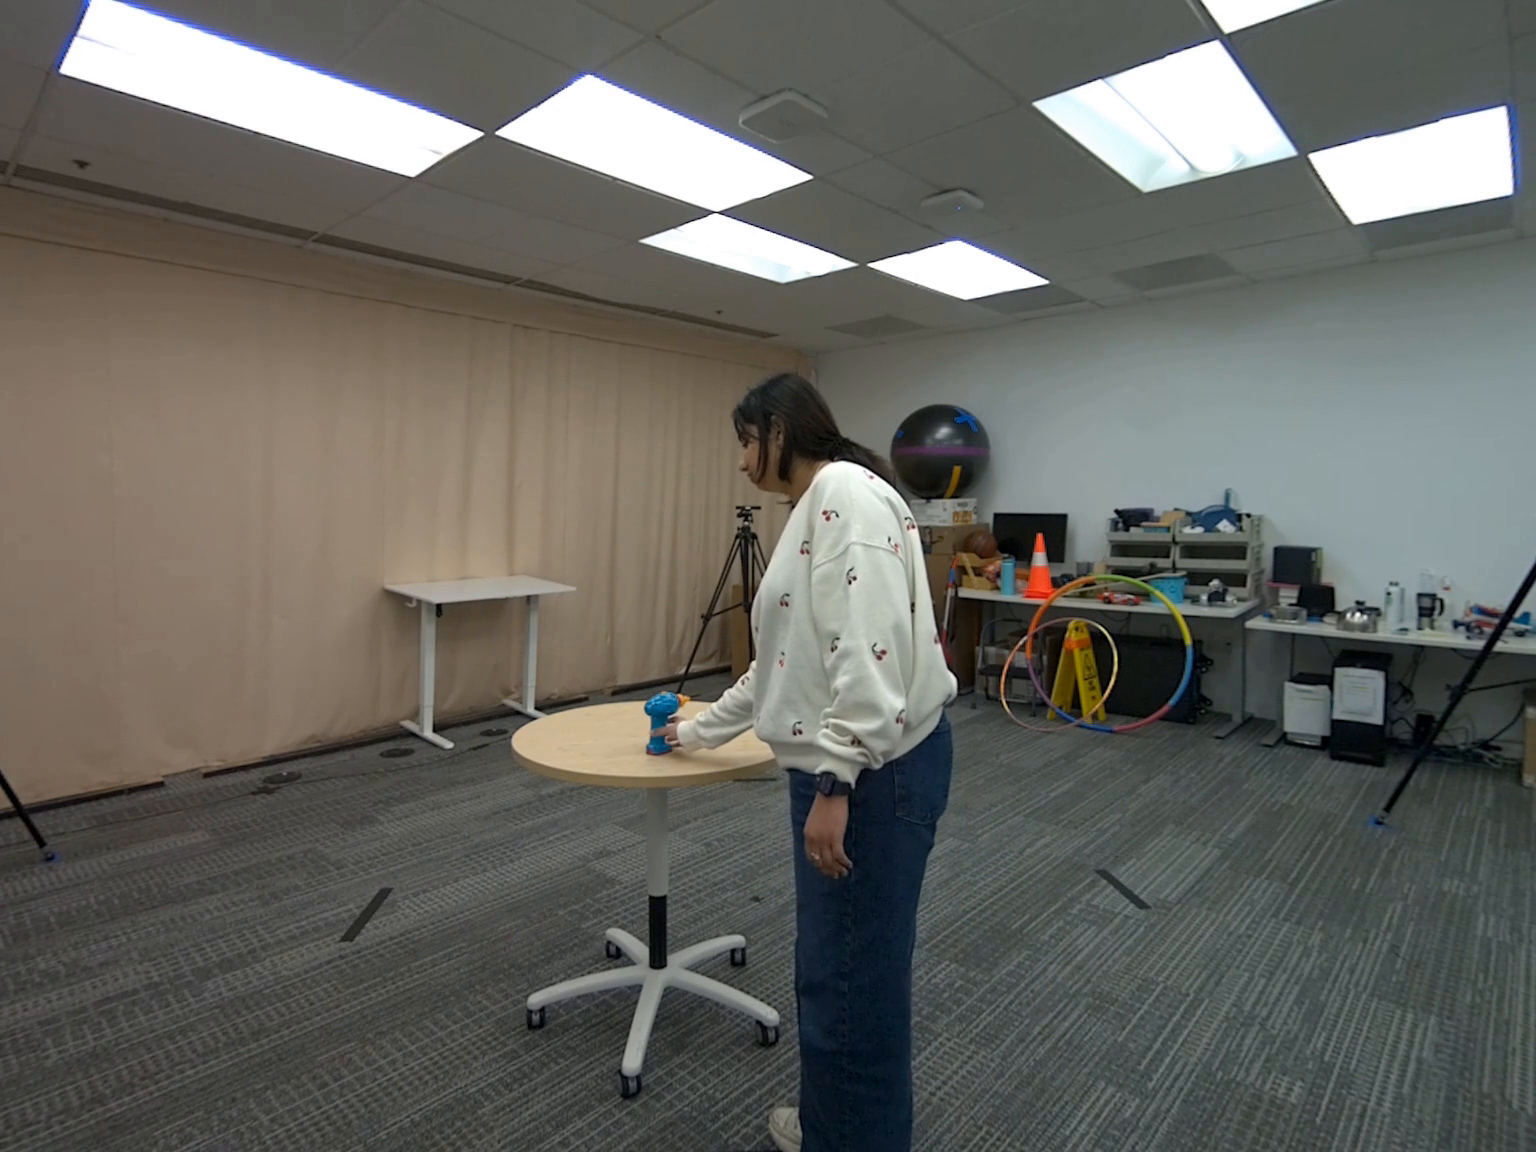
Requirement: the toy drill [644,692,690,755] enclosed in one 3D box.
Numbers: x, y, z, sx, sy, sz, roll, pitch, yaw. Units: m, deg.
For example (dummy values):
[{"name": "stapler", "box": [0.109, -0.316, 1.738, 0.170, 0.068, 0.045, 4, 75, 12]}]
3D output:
[{"name": "toy drill", "box": [-0.258, 0.363, 2.105, 0.063, 0.146, 0.166, -1, 3, 26]}]
